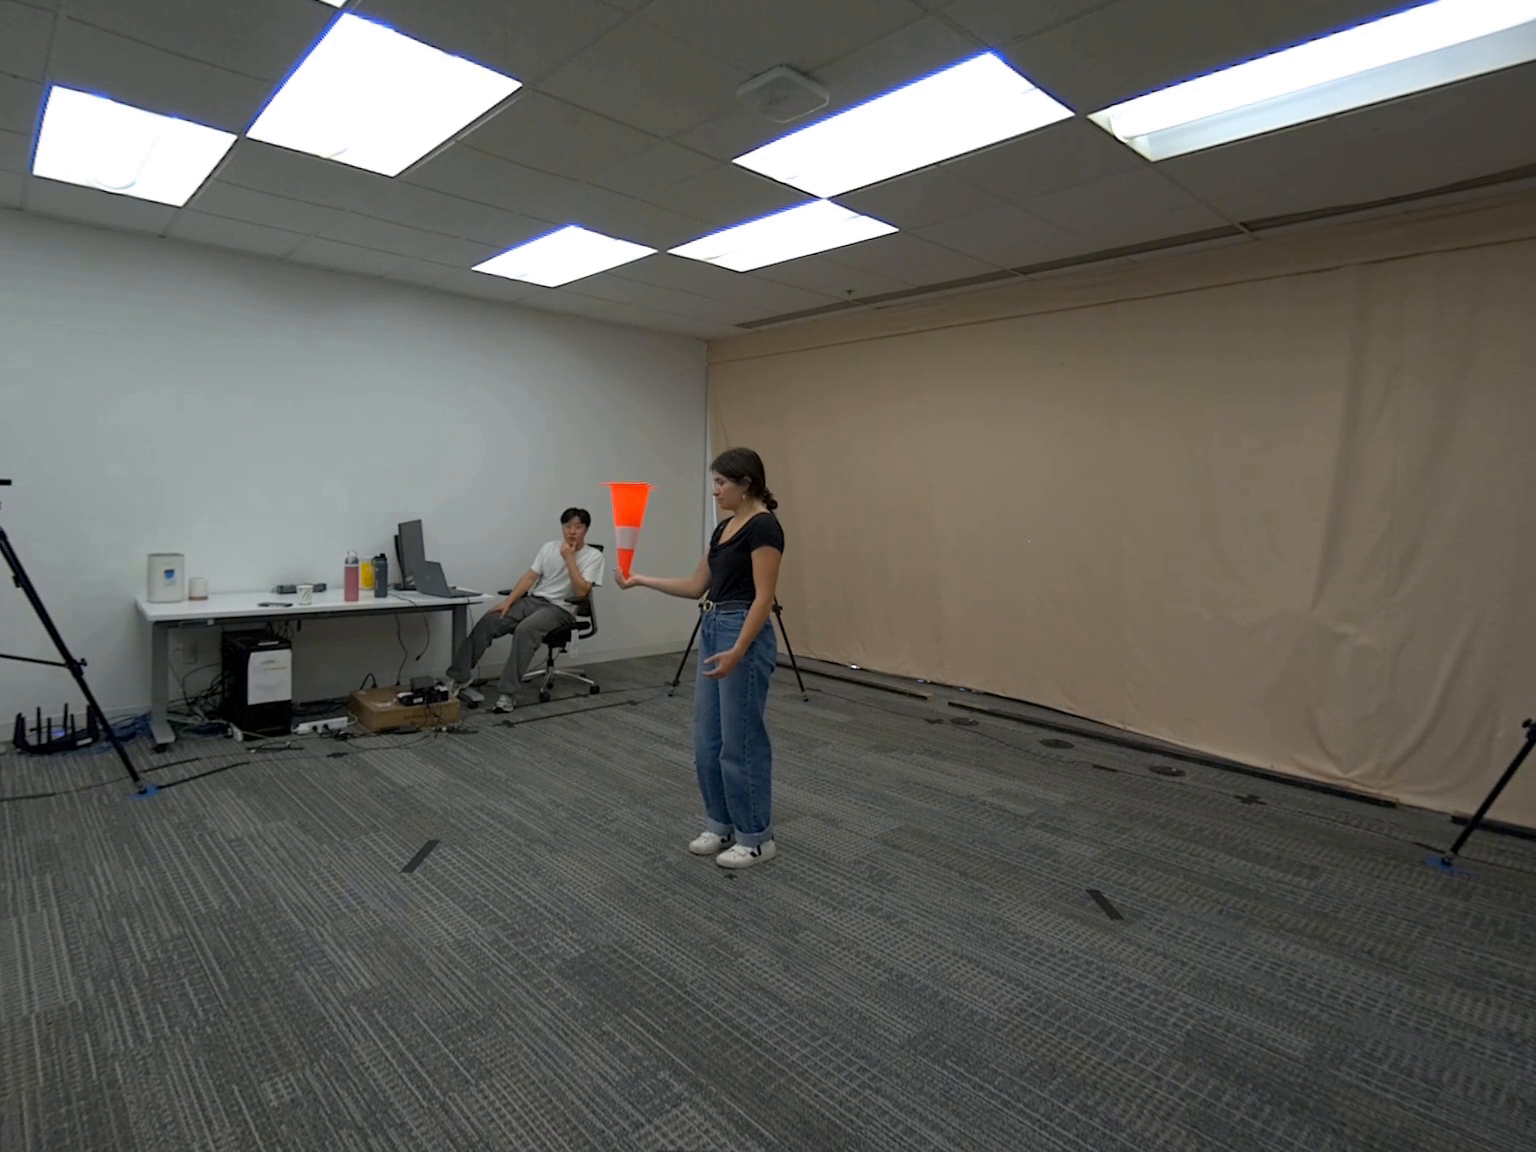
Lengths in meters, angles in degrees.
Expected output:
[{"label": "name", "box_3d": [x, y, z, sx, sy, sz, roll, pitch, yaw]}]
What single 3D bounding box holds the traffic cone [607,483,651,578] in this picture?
[{"label": "traffic cone", "box_3d": [-0.562, -0.169, 3.388, 0.198, 0.384, 0.209, 3, -3, -38]}]
